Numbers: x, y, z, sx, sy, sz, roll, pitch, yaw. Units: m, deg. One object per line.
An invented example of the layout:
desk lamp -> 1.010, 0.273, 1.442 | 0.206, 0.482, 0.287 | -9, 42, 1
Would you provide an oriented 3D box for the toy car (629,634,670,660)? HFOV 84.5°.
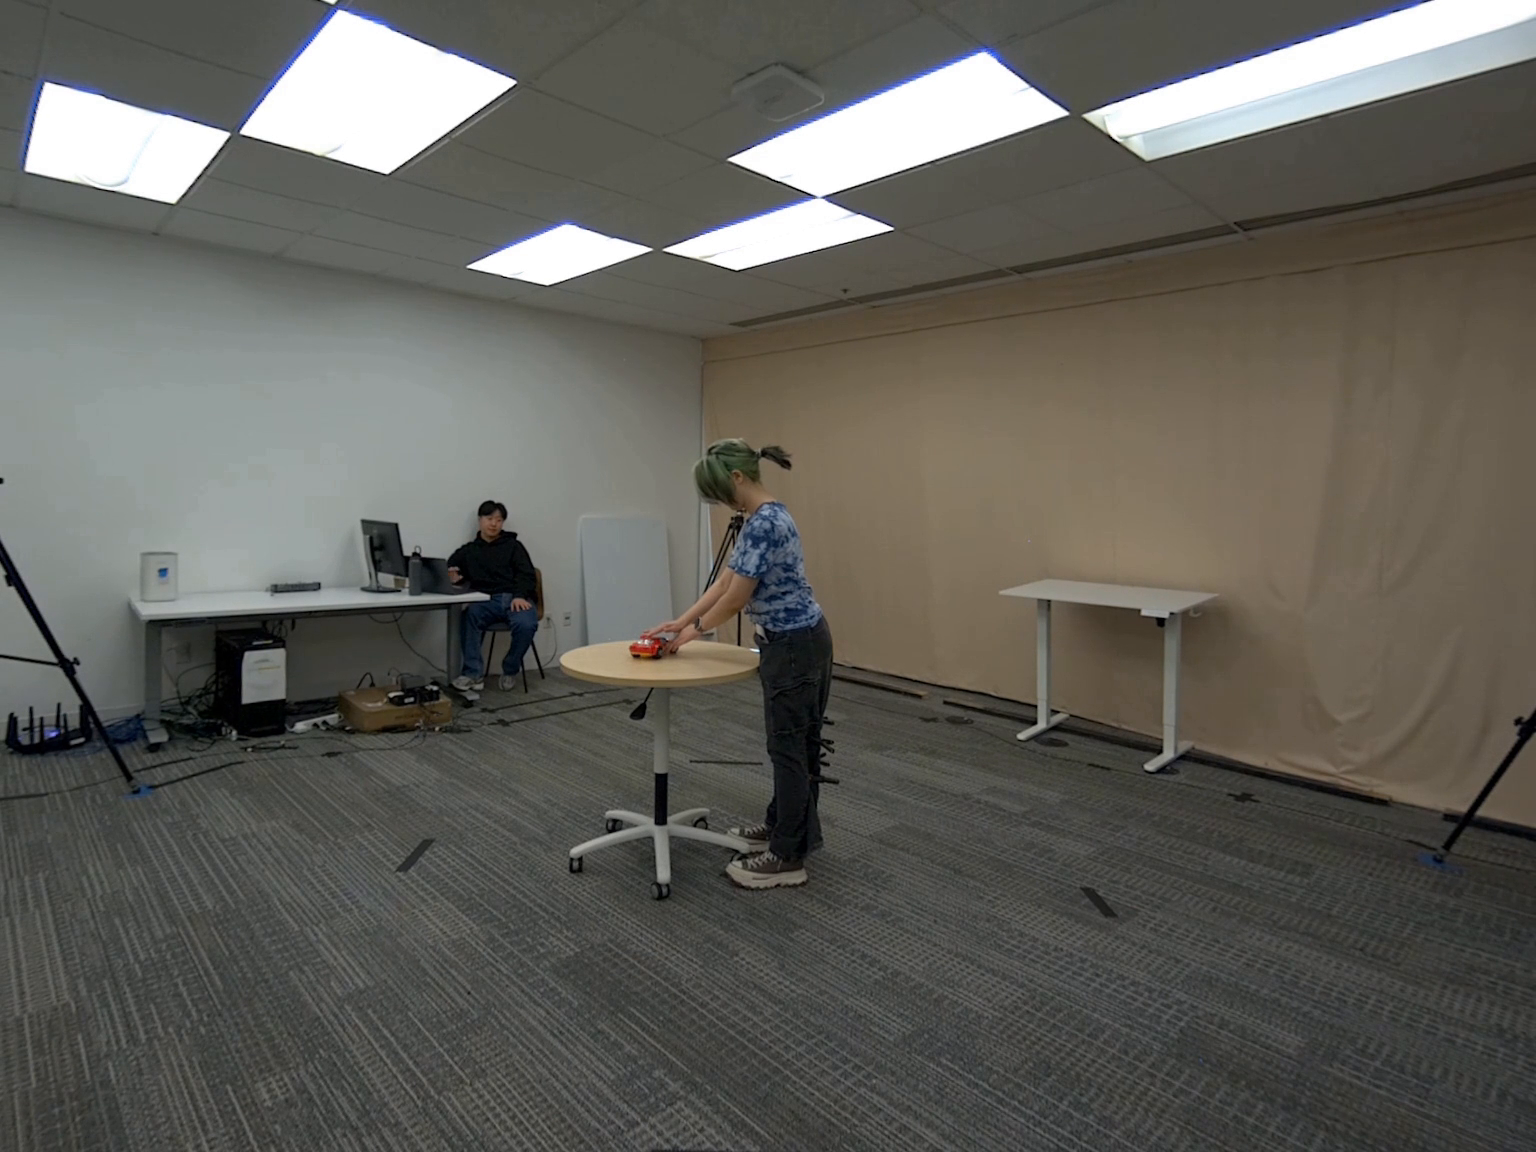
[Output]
toy car -> -0.444, 0.273, 3.206 | 0.132, 0.083, 0.249 | 1, -6, 18
